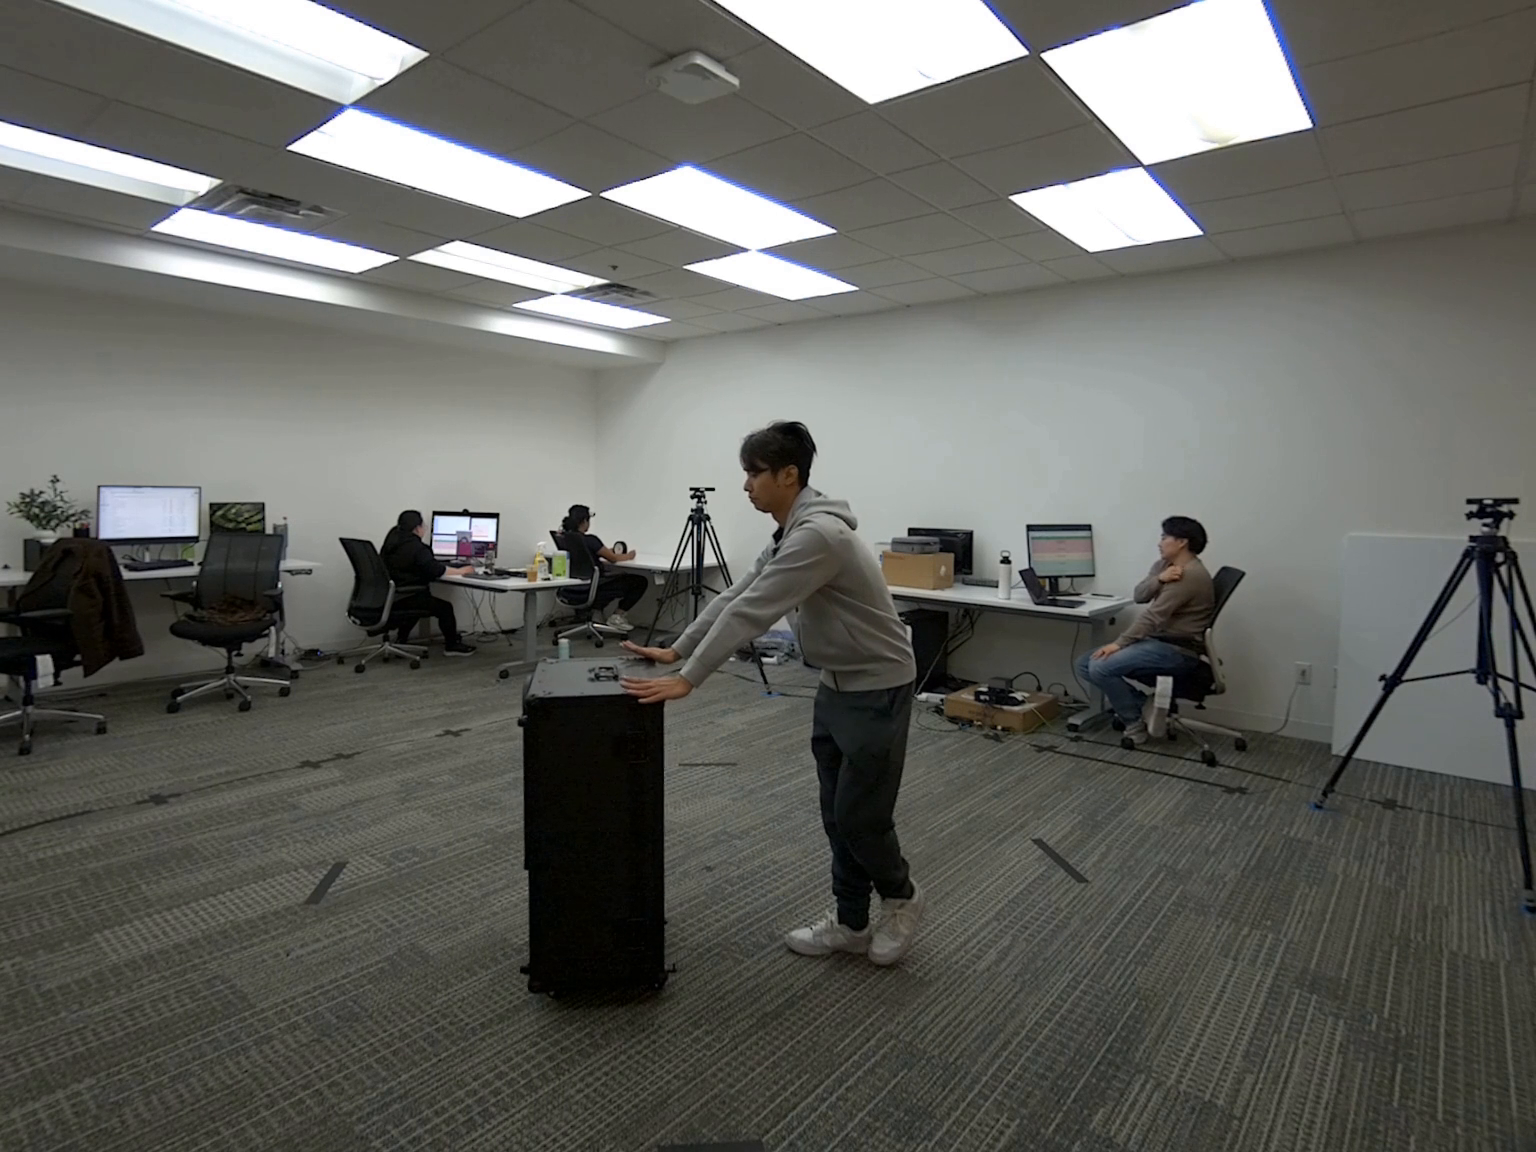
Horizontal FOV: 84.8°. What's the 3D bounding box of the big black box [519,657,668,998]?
[{"bbox_3d":[-0.506,0.706,2.437,0.392,0.858,0.529,-1,4,-12],"label":"big black box"}]
